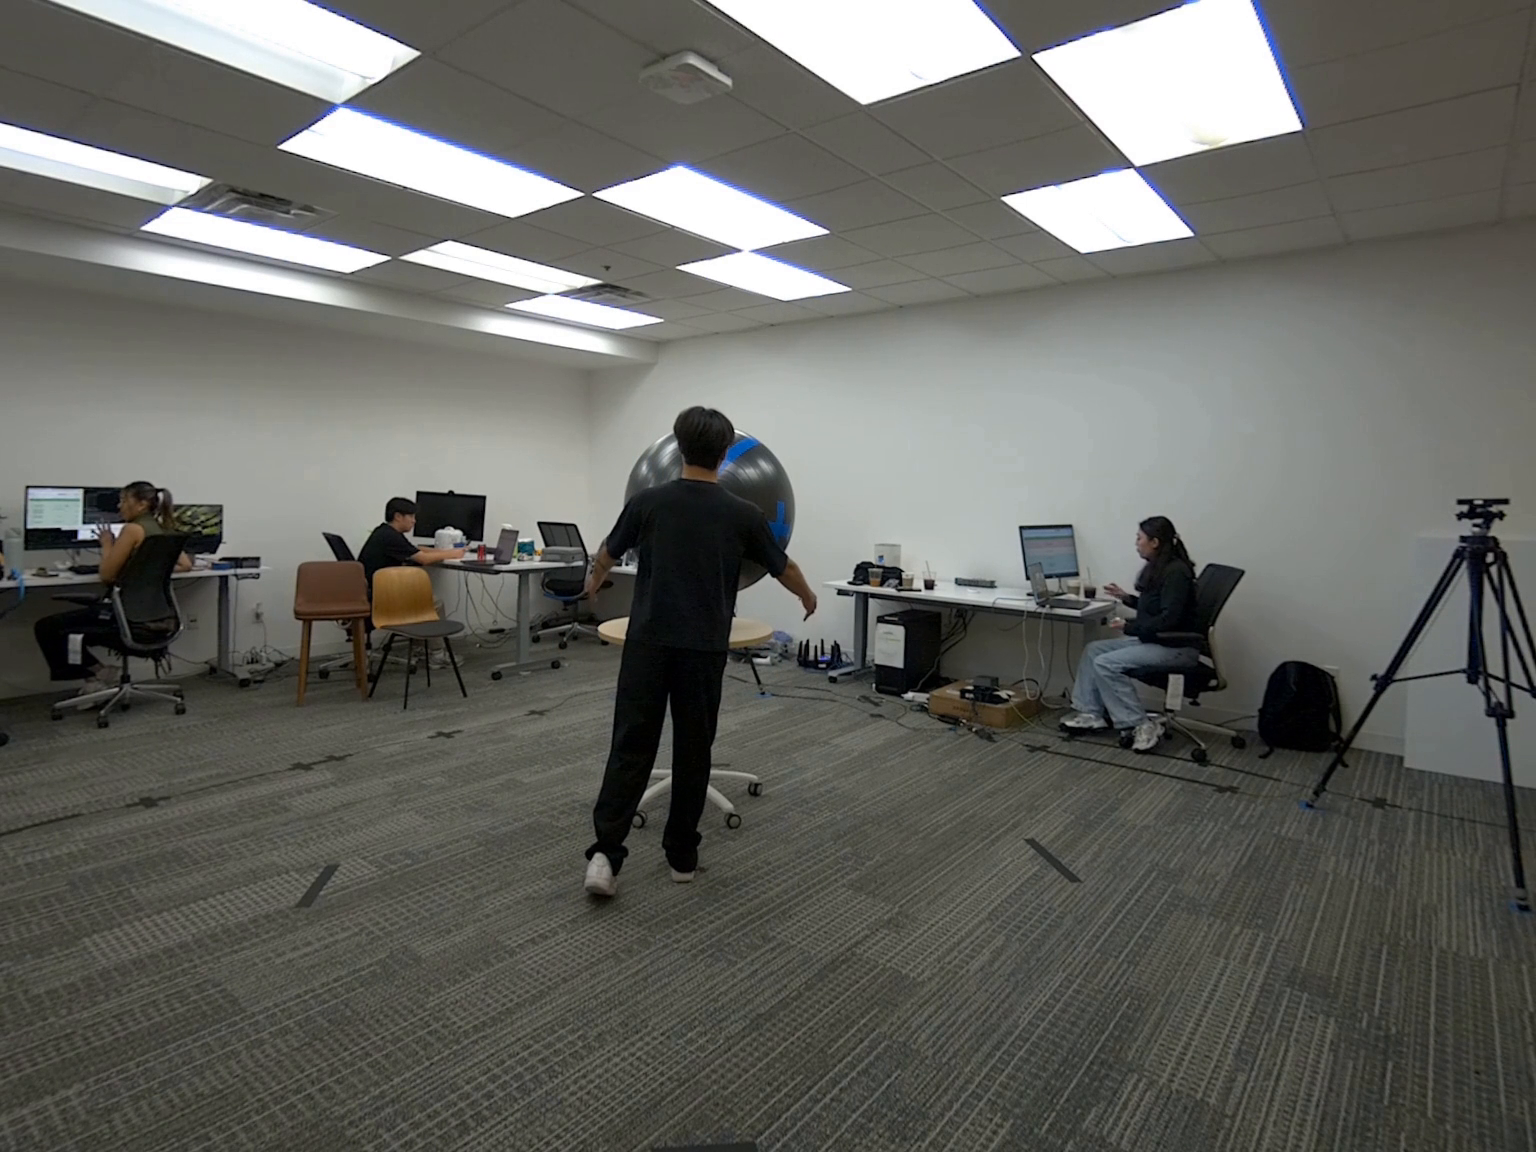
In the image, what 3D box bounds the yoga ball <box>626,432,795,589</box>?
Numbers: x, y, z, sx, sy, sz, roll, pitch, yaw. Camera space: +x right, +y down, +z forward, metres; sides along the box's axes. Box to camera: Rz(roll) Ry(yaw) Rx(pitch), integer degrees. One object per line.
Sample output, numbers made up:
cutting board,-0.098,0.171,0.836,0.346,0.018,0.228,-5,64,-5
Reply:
yoga ball,-0.272,-0.293,3.769,0.757,0.755,0.762,1,4,-2
